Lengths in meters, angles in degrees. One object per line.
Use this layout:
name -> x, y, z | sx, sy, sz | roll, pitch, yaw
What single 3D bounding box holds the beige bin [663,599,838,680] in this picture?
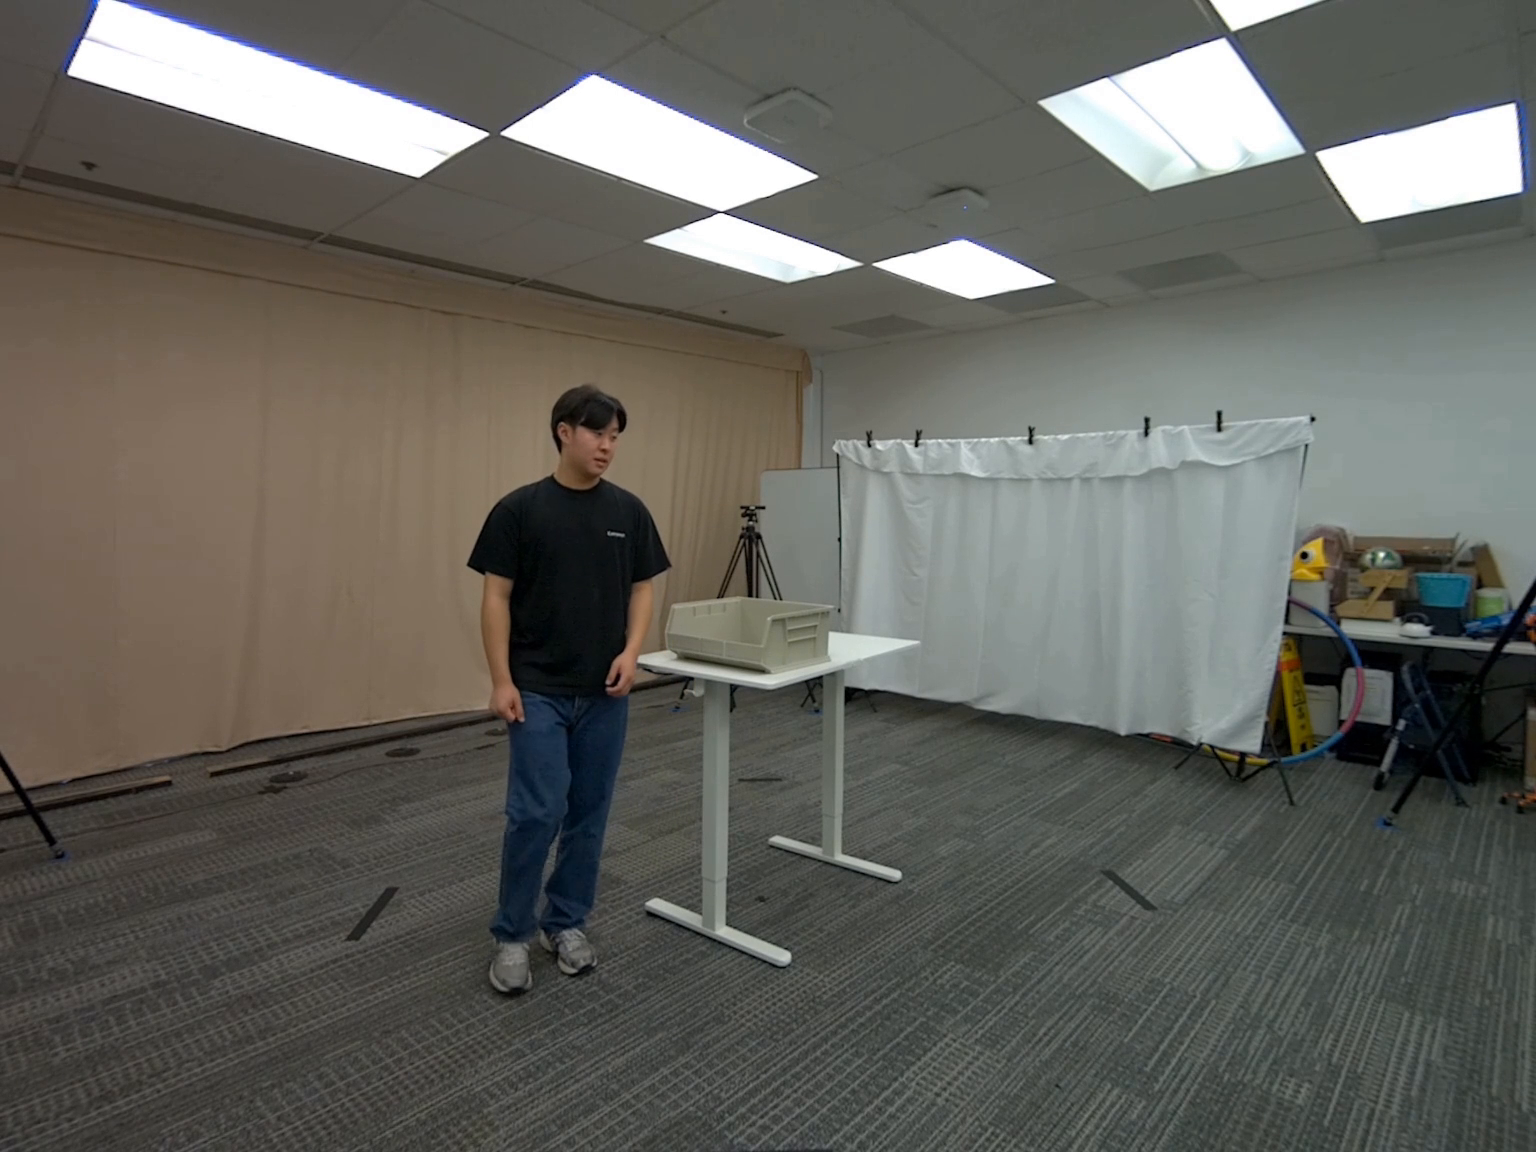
beige bin -> -0.058, 0.192, 2.763 | 0.436, 0.189, 0.365 | 3, 4, 40
